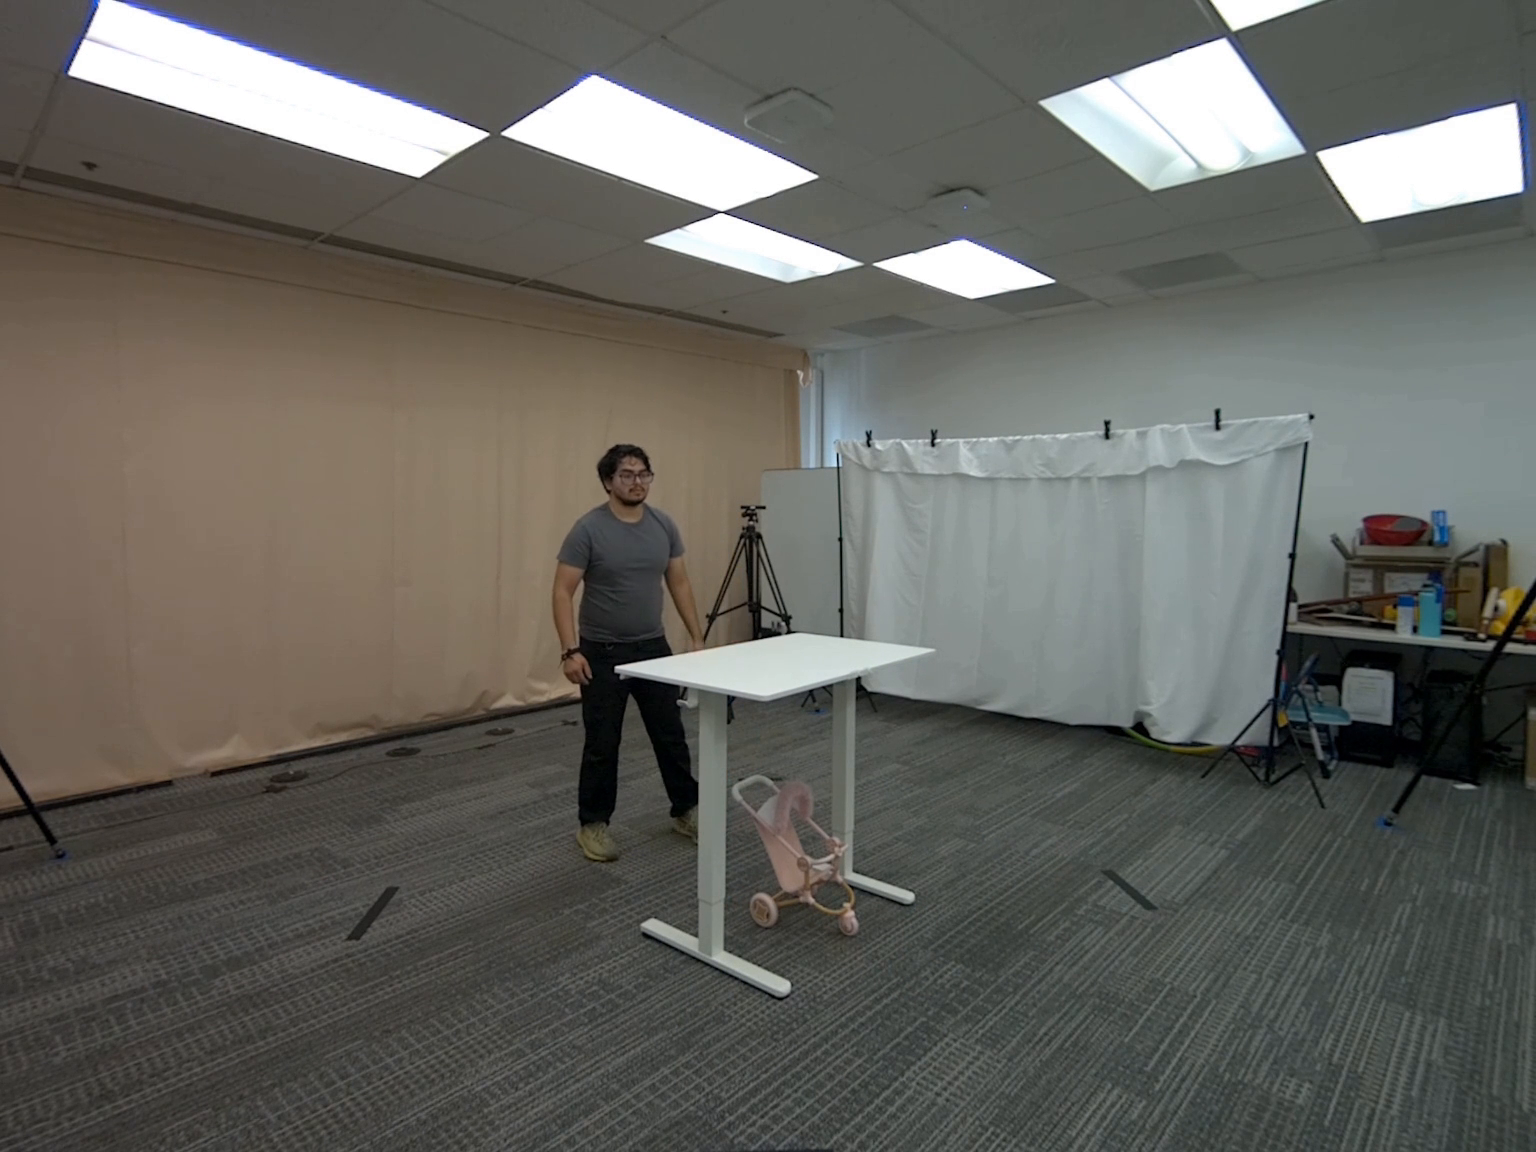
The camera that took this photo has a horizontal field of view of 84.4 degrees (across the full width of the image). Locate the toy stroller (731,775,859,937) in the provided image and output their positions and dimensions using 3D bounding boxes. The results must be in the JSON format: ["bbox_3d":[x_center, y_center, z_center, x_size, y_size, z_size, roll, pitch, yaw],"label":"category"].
[{"bbox_3d":[0.111,0.936,2.833,0.349,0.539,0.273,-20,-10,40],"label":"toy stroller"}]
